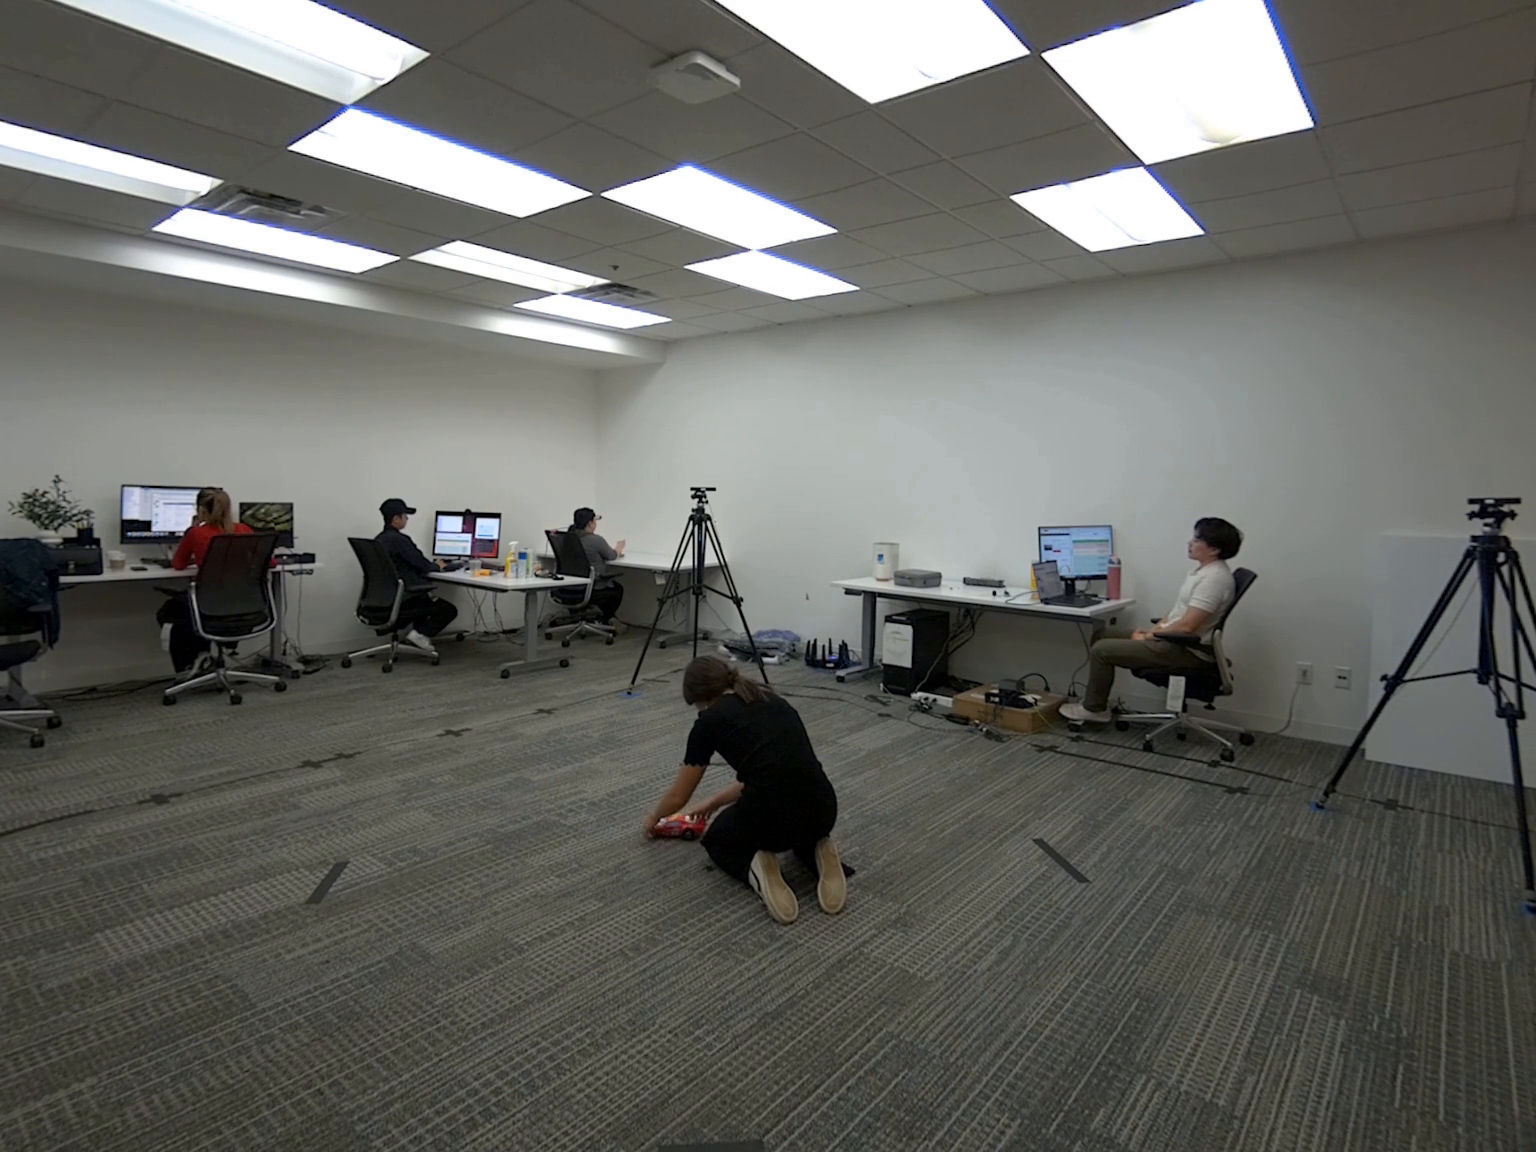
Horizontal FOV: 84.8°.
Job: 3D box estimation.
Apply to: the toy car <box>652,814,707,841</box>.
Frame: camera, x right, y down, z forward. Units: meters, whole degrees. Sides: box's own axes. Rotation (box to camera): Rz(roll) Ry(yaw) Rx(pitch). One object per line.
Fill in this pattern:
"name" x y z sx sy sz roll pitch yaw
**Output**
"toy car" -0.380 1.005 3.404 0.255 0.083 0.130 -9 4 3
